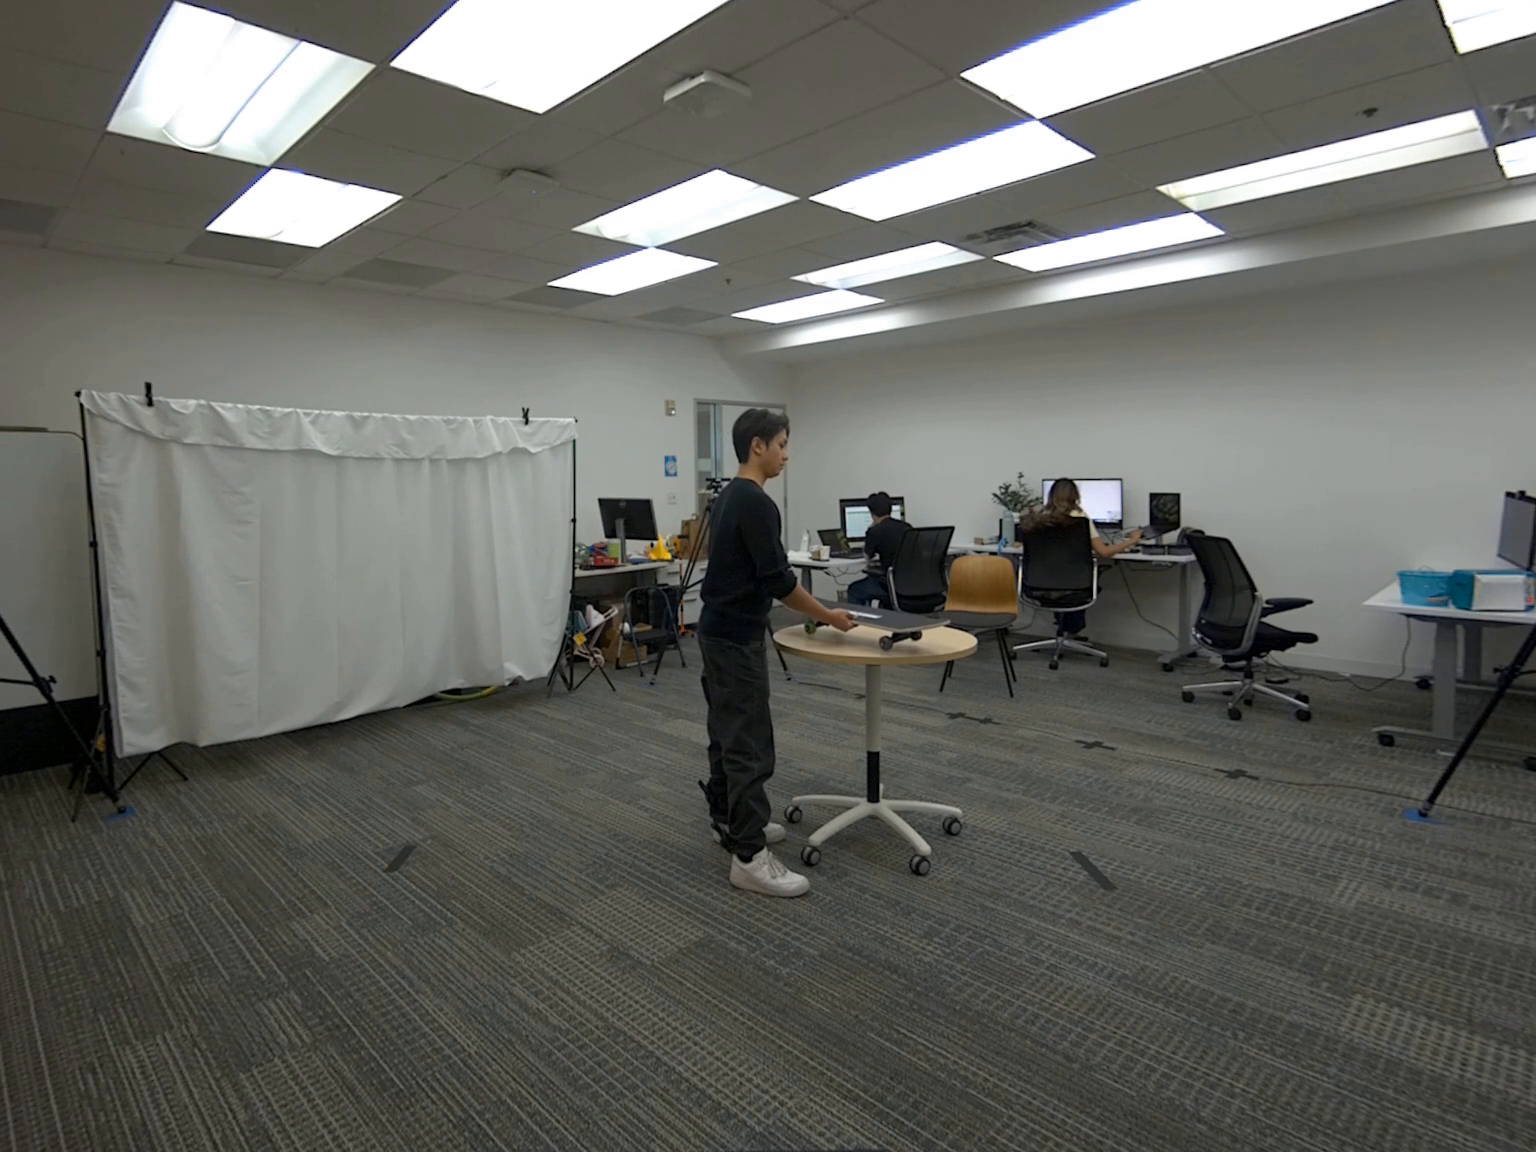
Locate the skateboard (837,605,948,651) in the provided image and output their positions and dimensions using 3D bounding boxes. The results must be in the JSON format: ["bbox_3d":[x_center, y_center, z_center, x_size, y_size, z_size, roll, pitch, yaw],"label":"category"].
[{"bbox_3d":[0.337,0.179,3.180,0.189,0.109,0.810,-12,12,-36],"label":"skateboard"}]
